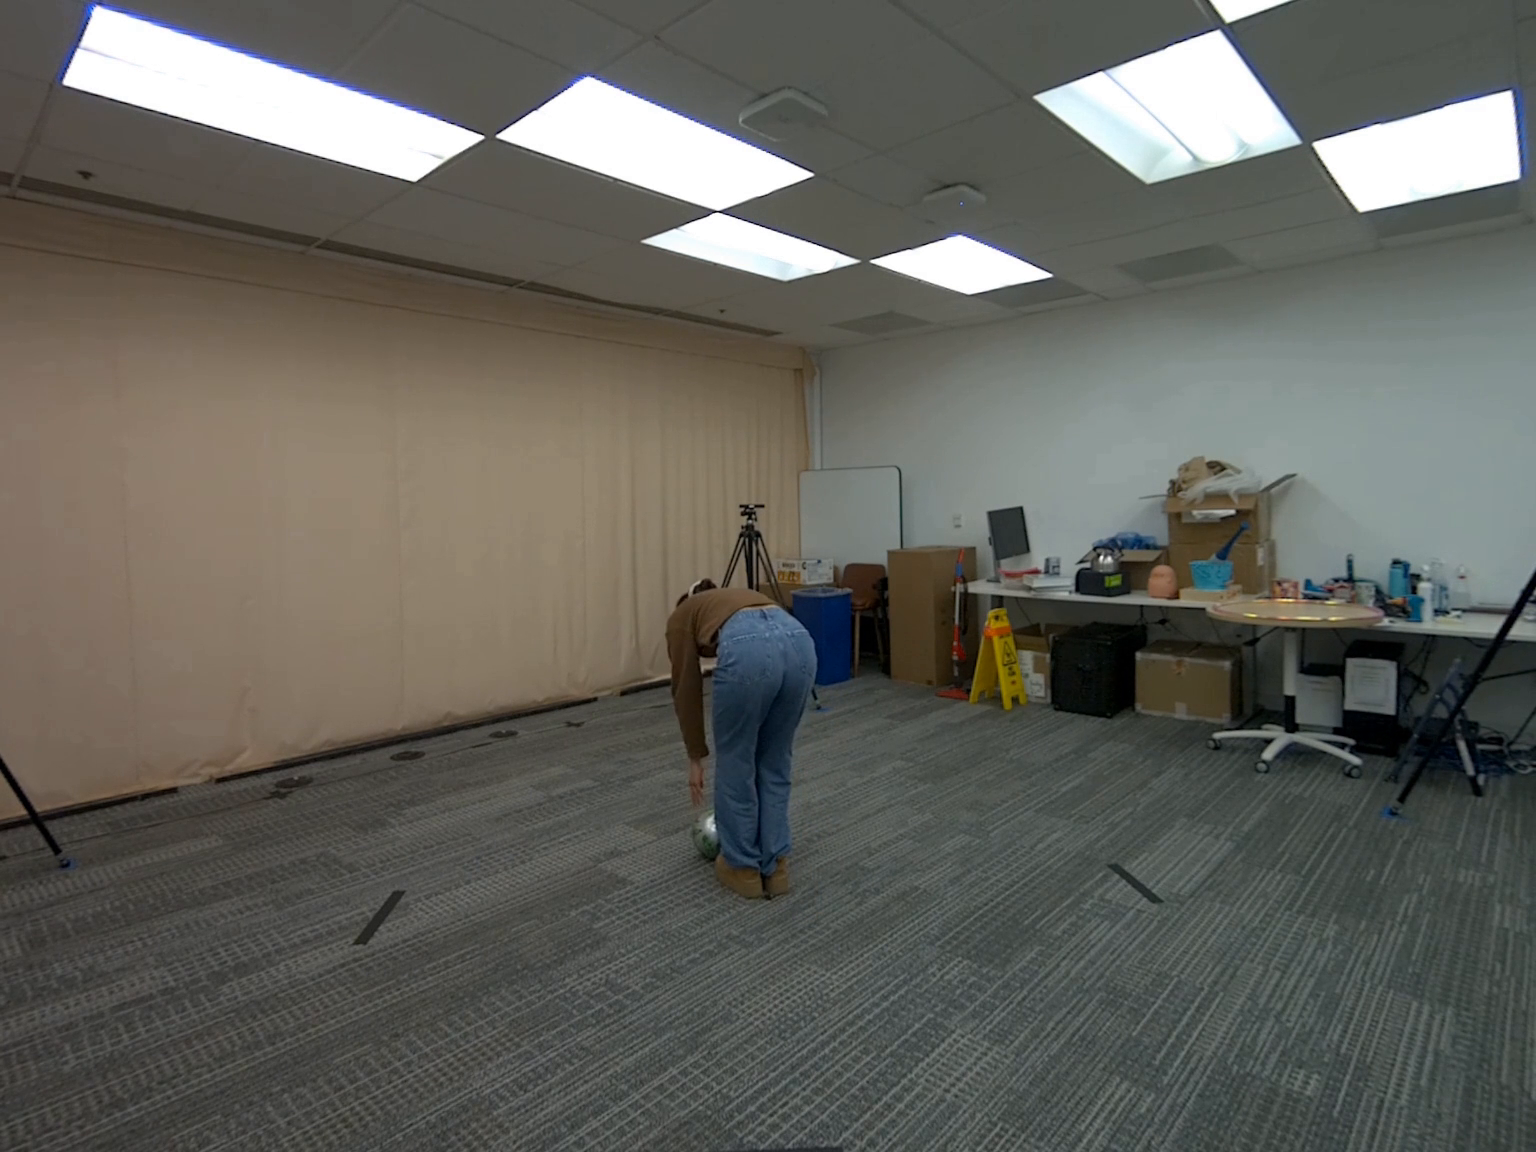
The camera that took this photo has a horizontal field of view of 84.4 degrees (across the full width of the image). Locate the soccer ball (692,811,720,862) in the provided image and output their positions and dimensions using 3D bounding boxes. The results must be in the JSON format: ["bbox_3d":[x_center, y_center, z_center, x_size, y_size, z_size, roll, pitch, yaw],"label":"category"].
[{"bbox_3d":[-0.206,1.015,3.332,0.187,0.187,0.188,-1,4,-2],"label":"soccer ball"}]
